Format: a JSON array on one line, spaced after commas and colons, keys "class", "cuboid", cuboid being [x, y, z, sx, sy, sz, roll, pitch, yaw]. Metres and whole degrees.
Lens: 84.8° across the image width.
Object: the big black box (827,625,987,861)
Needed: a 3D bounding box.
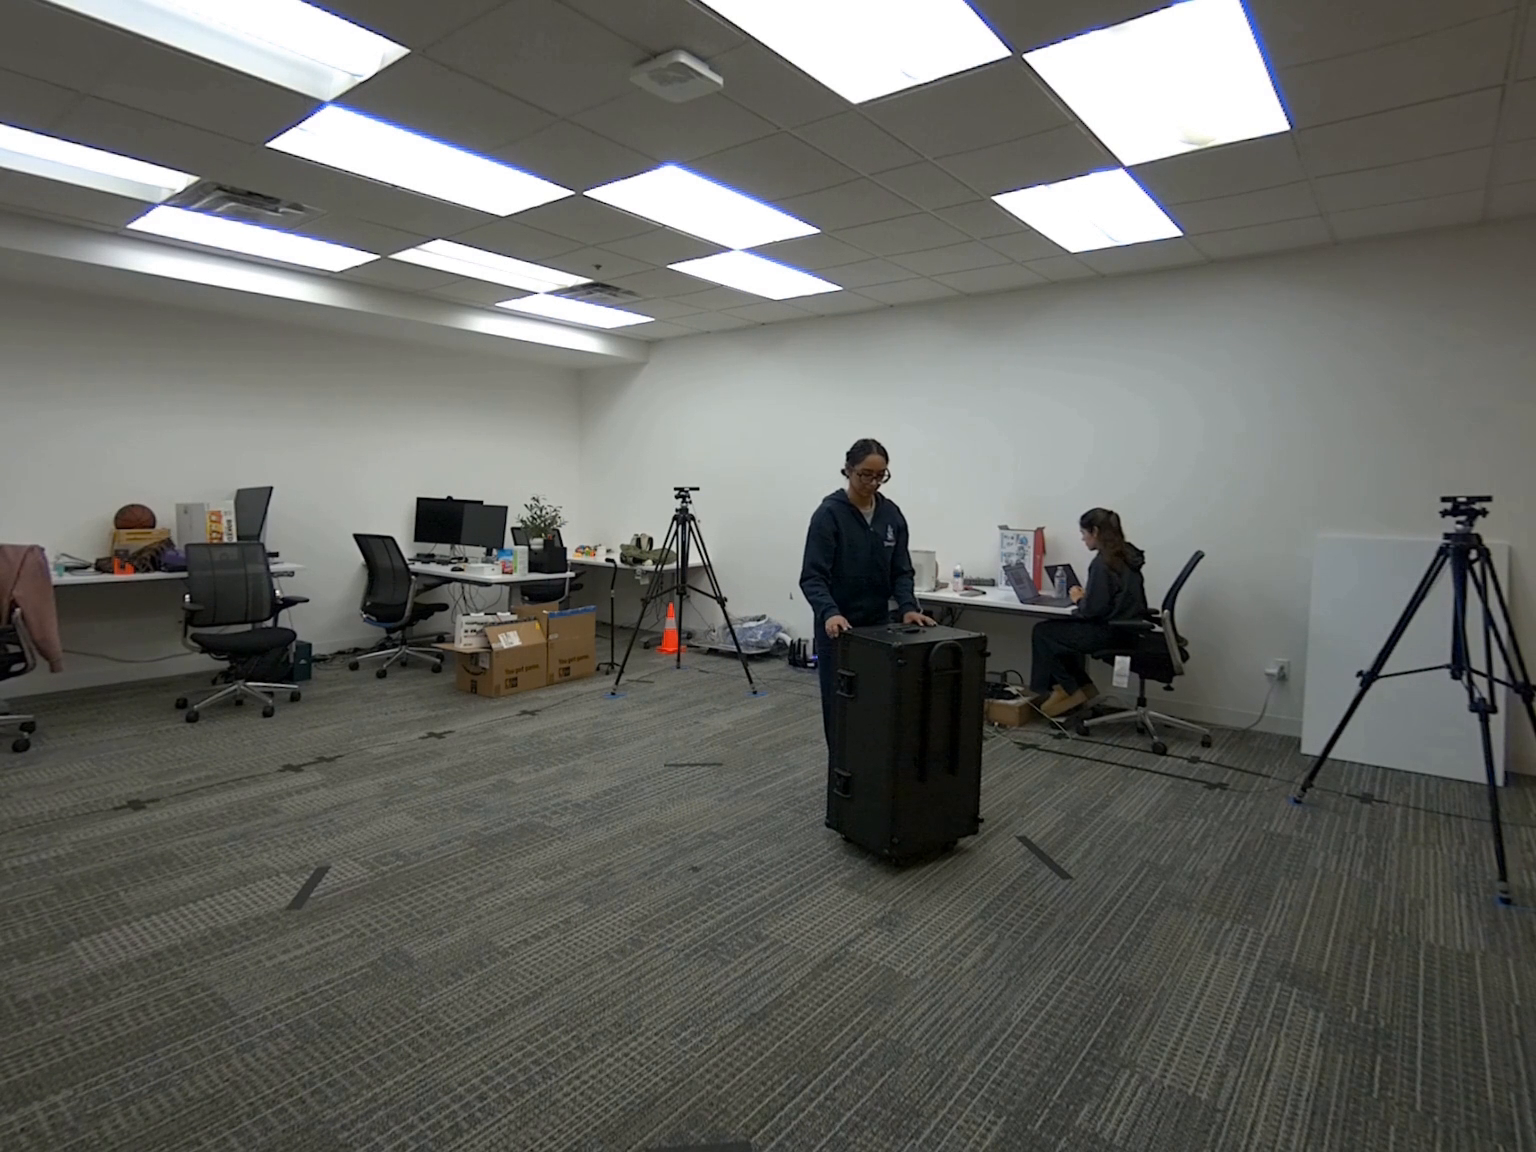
[{"class": "big black box", "cuboid": [0.539, 0.639, 3.306, 0.506, 0.858, 0.410, -1, 6, -35]}]
